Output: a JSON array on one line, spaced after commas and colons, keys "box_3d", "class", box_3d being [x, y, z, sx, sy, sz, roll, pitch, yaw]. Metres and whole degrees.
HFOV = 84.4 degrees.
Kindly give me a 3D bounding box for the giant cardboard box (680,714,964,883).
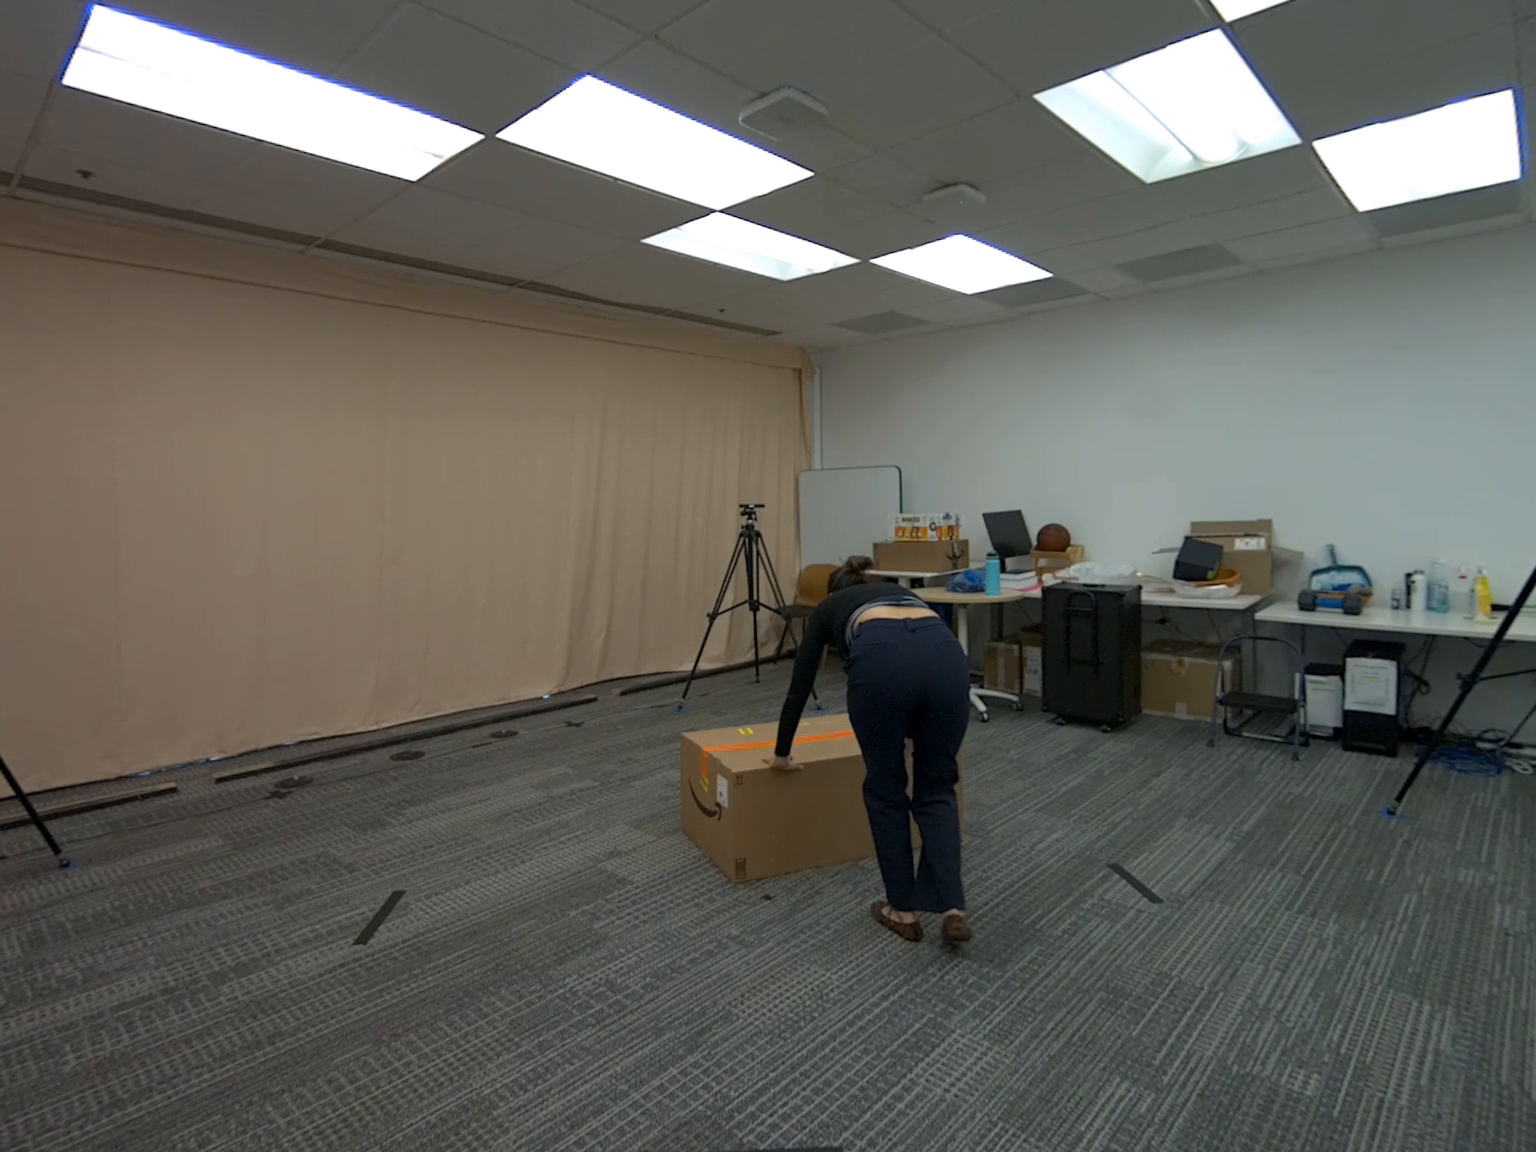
[{"box_3d": [0.208, 0.876, 3.528, 1.003, 0.425, 0.592, -3, 5, -23], "class": "giant cardboard box"}]
